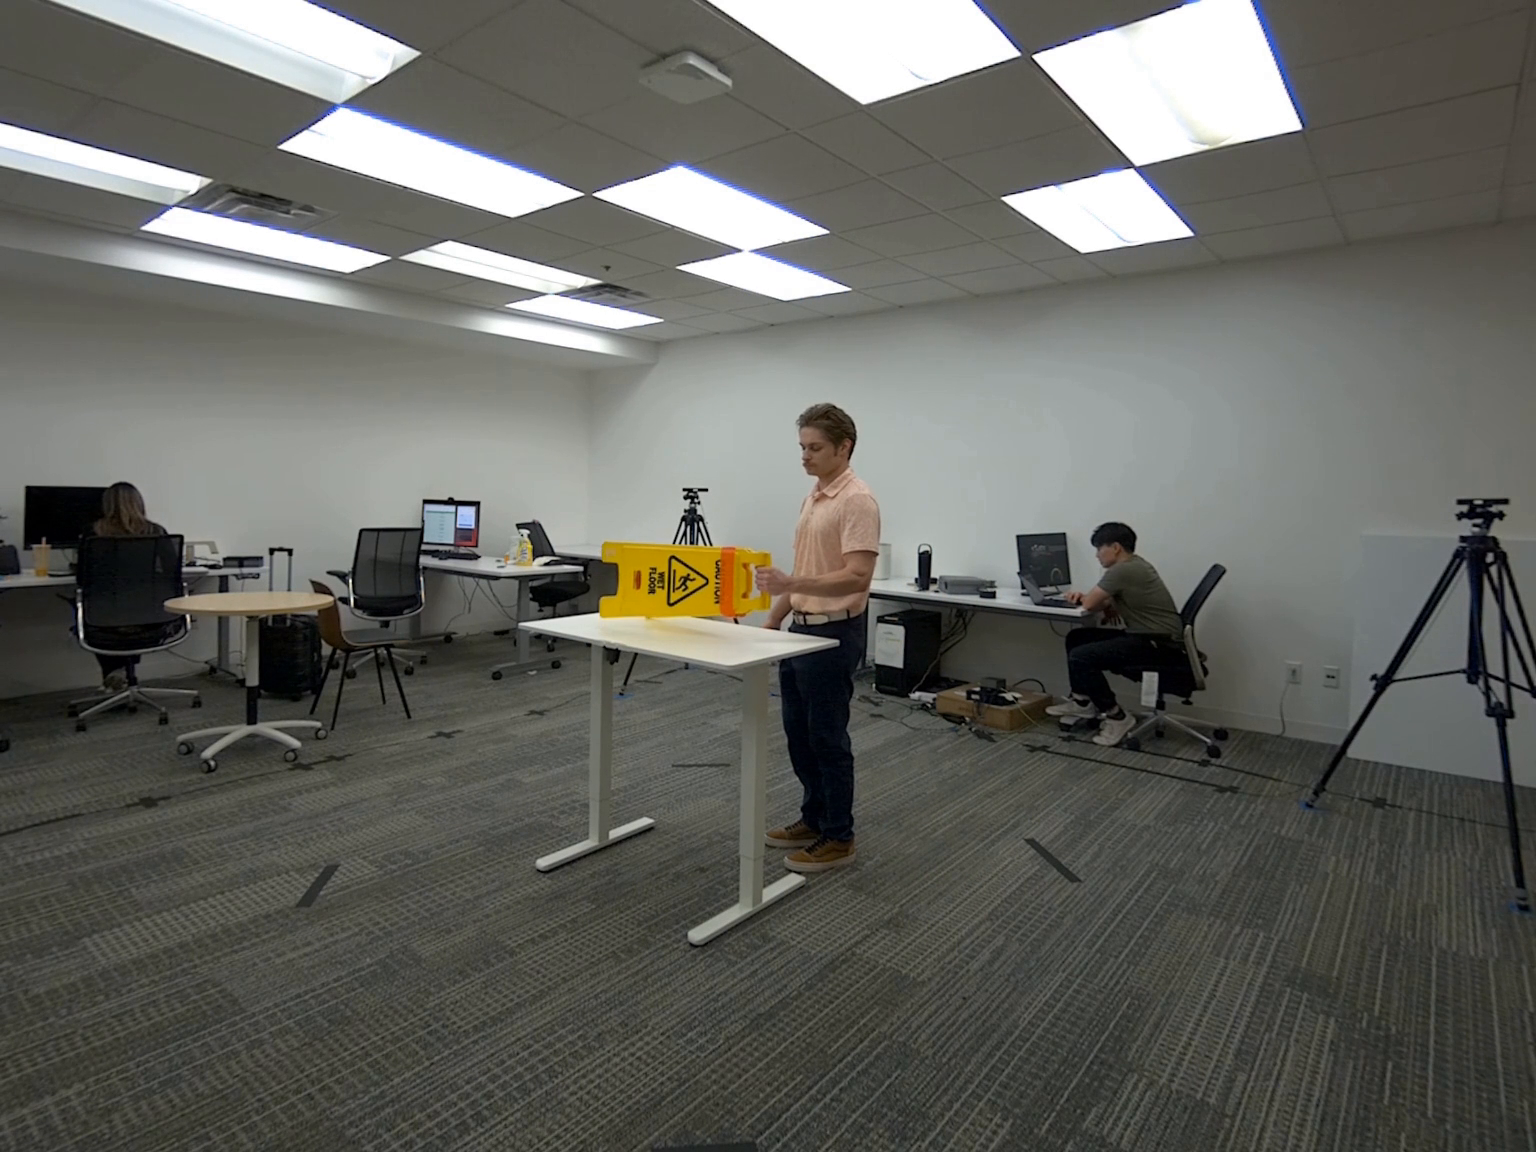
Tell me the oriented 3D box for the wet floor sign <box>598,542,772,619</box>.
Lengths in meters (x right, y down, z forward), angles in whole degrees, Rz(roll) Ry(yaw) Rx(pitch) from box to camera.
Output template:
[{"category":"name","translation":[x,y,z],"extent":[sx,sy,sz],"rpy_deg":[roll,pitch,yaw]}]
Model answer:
[{"category":"wet floor sign","translation":[-0.280,0.019,3.026],"extent":[0.665,0.283,0.280],"rpy_deg":[0,-3,36]}]
